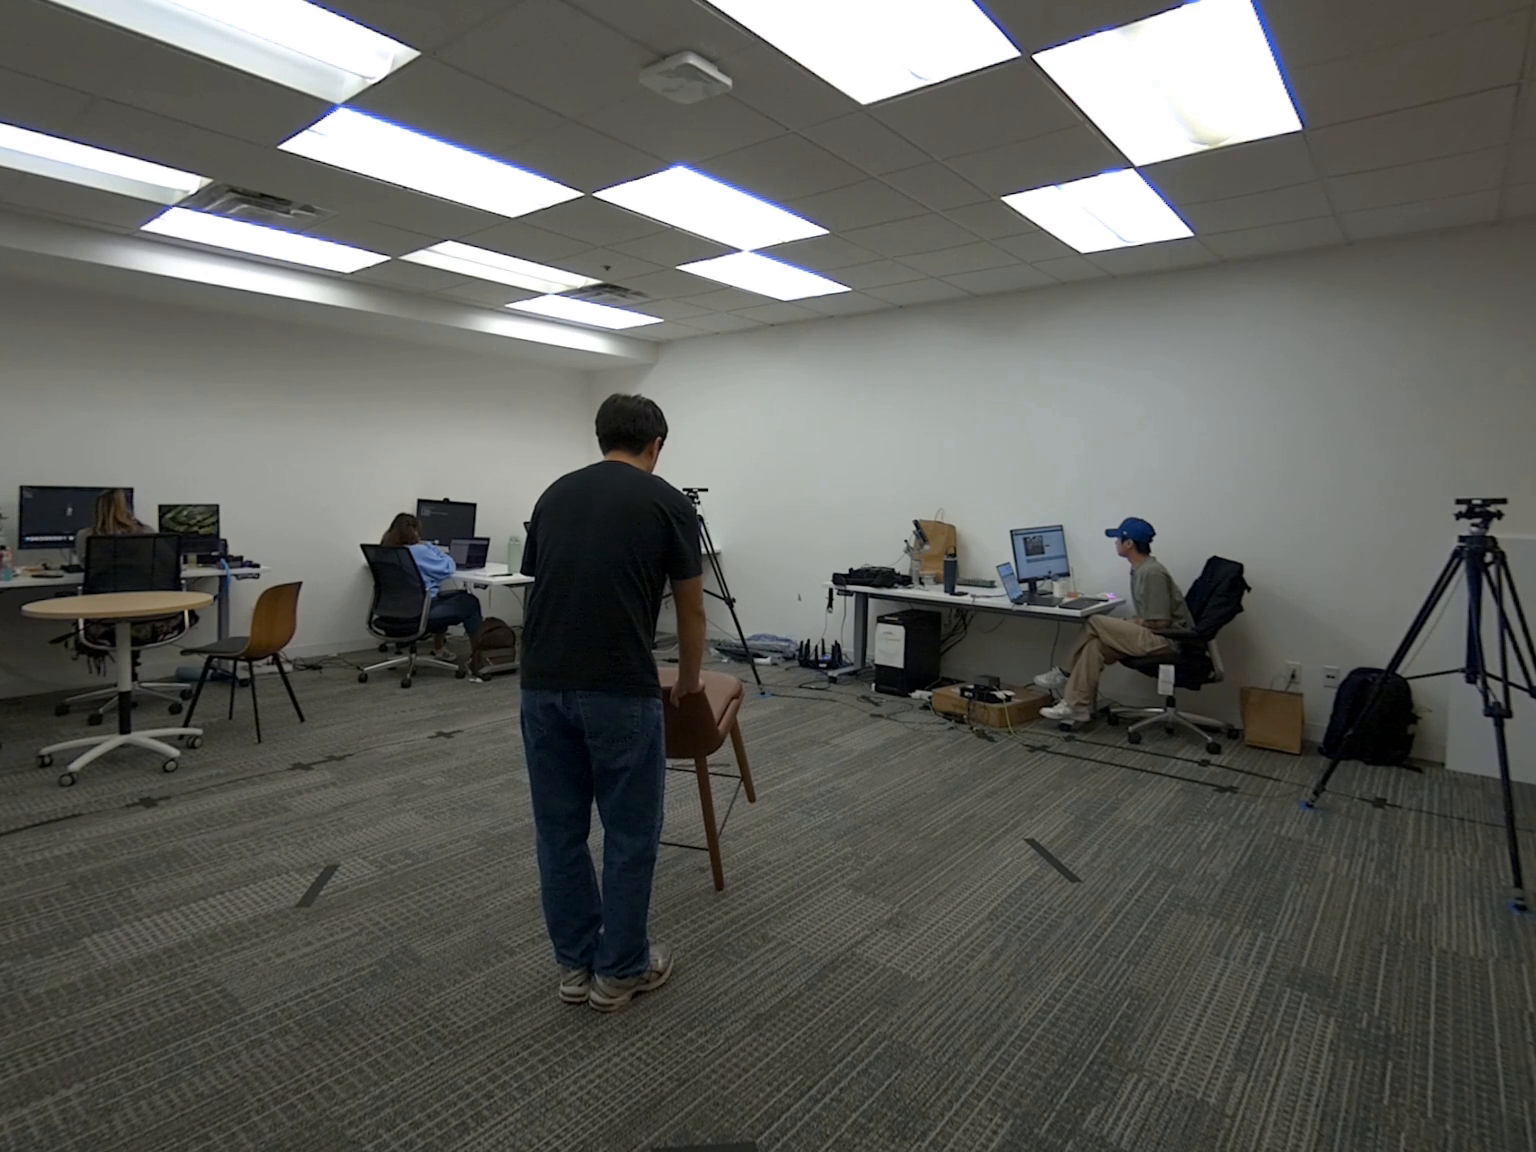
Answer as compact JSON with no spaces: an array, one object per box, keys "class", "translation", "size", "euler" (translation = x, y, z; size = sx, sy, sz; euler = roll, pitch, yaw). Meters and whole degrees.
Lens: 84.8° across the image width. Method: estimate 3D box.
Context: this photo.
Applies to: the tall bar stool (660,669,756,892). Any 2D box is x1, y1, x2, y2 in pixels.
[{"class":"tall bar stool","translation":[-0.337,0.596,2.989],"size":[0.465,0.866,0.472],"euler":[3,30,16]}]
